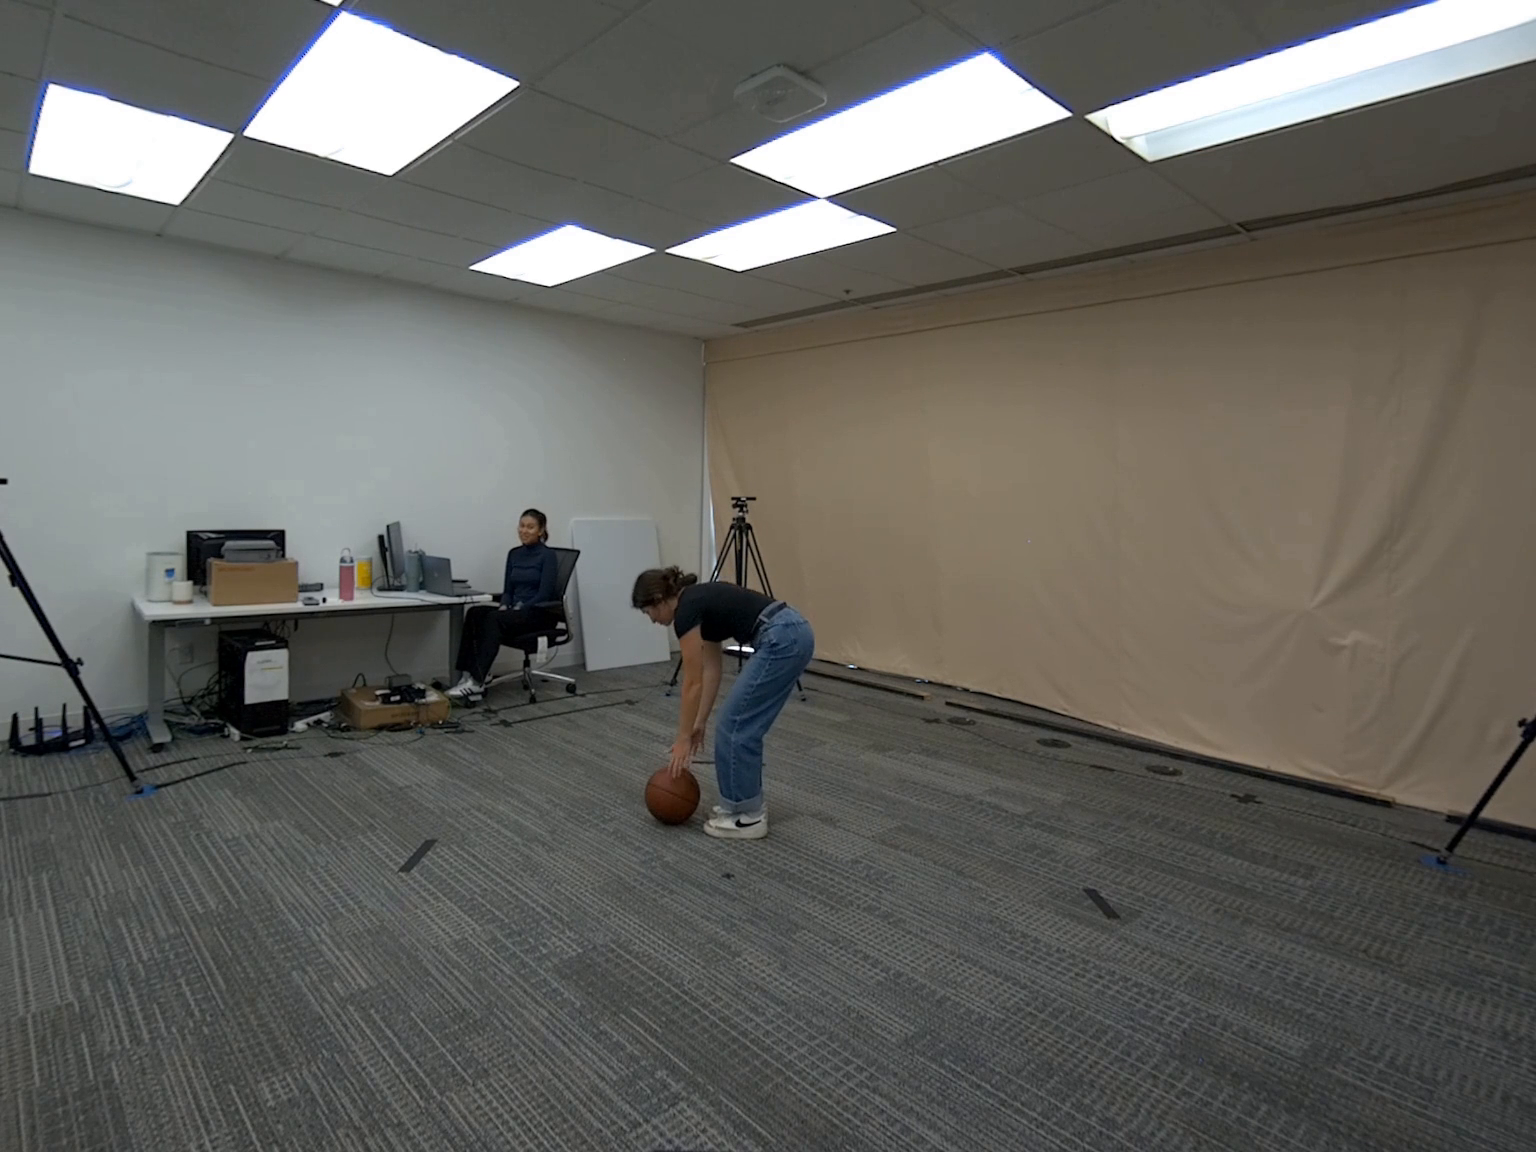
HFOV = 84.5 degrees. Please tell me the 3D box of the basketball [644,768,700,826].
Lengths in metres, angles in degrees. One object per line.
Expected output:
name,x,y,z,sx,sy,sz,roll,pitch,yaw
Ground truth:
basketball,-0.411,0.928,3.605,0.236,0.235,0.237,1,4,-1
